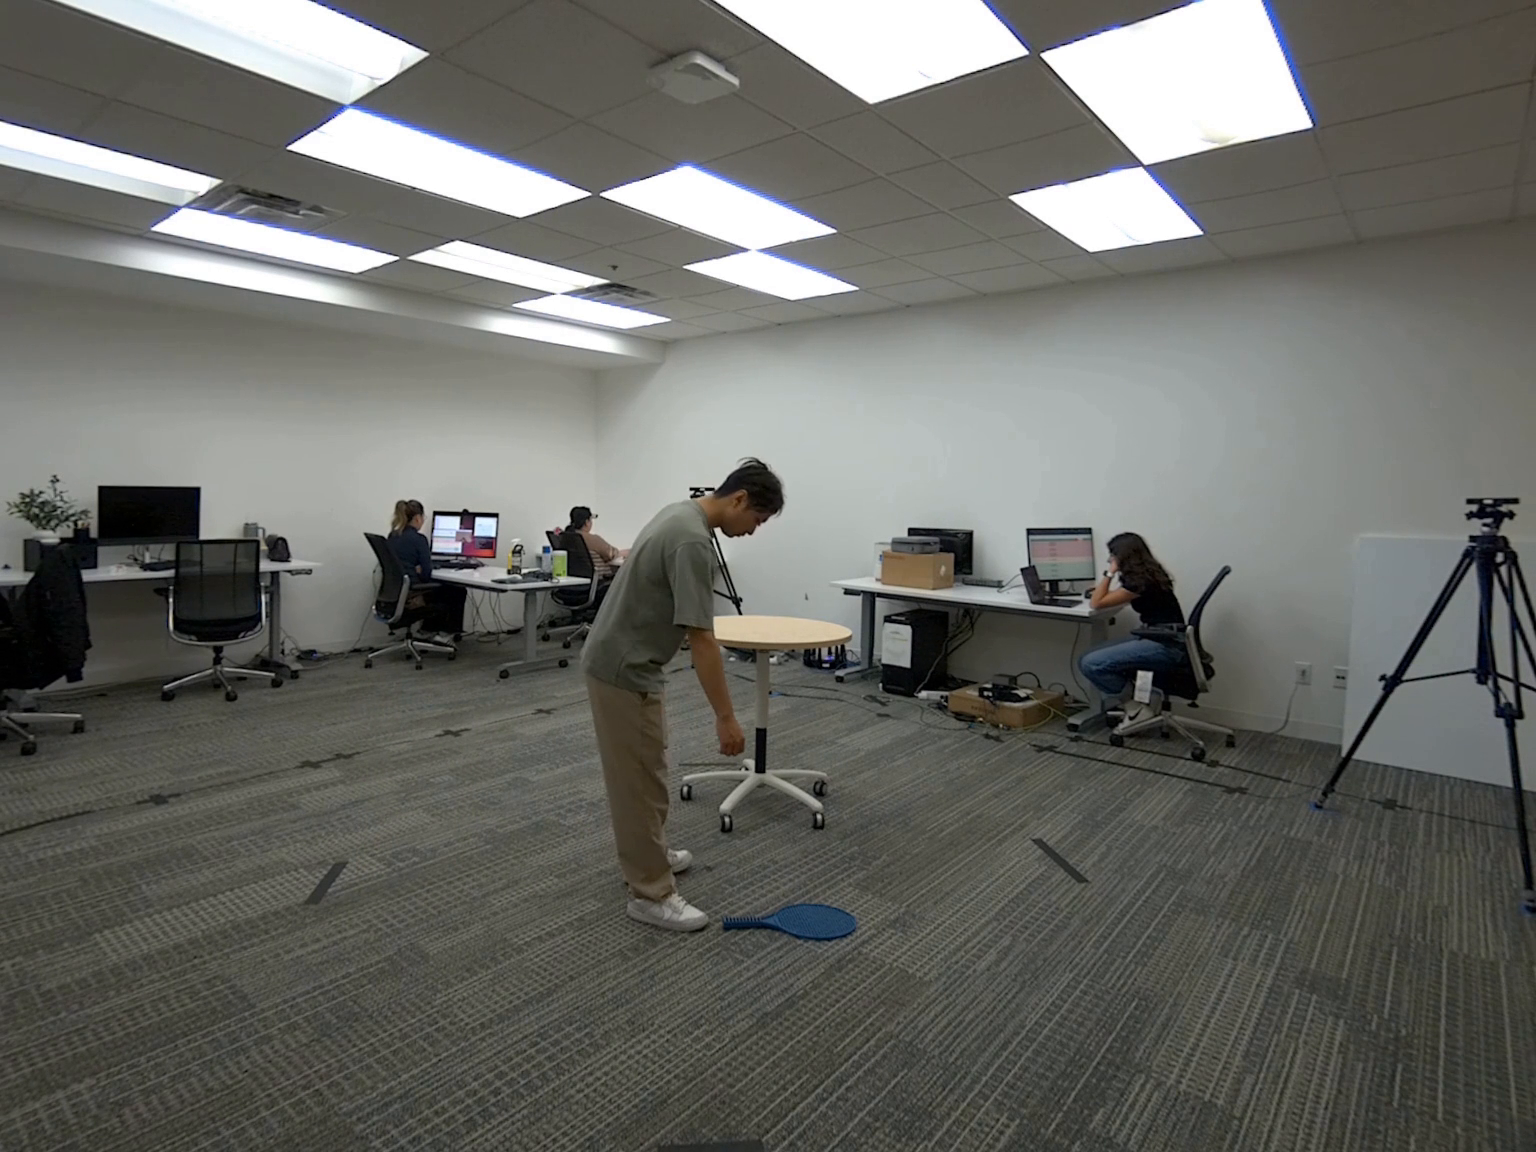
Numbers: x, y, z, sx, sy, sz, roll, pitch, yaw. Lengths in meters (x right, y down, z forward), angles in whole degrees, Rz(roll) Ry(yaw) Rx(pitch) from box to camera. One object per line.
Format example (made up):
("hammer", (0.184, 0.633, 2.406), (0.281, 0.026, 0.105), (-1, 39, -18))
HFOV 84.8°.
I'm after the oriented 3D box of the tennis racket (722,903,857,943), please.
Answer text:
("tennis racket", (0.064, 1.103, 2.709), (0.428, 0.031, 0.217), (1, 6, -11))
